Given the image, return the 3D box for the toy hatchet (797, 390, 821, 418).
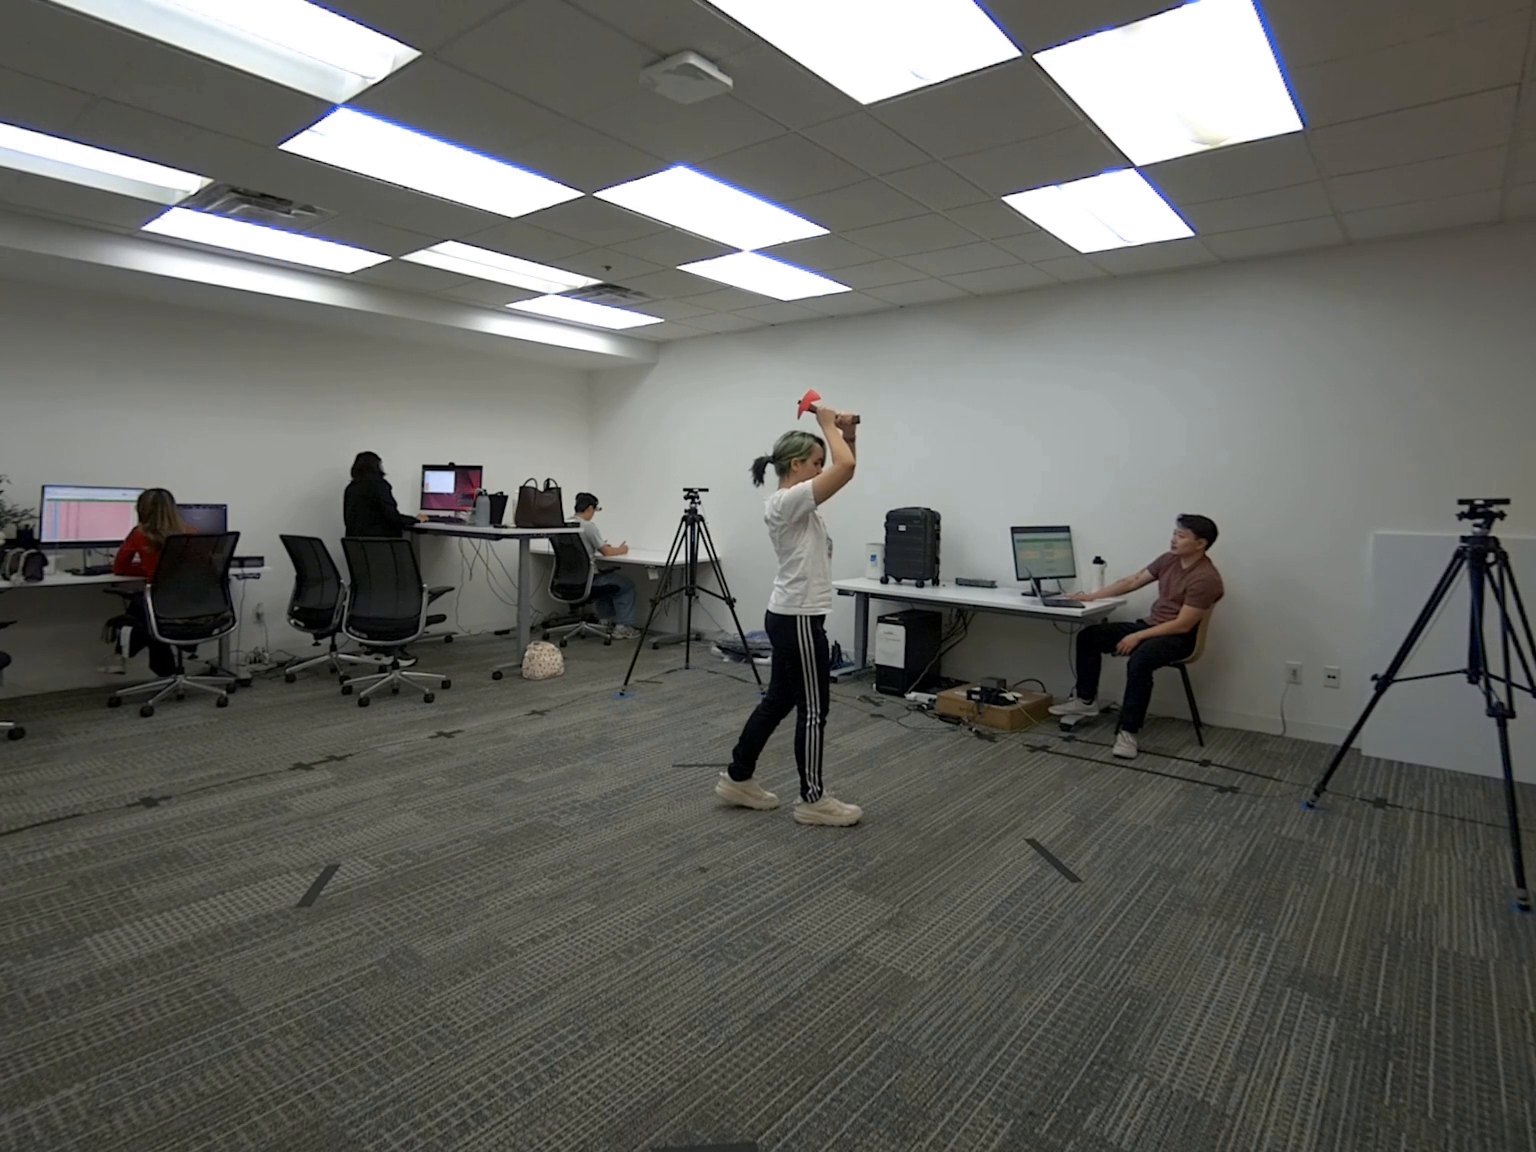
[{"bbox_3d":[0.250,-0.718,3.579,0.274,0.131,0.029,6,1,12],"label":"toy hatchet"}]
